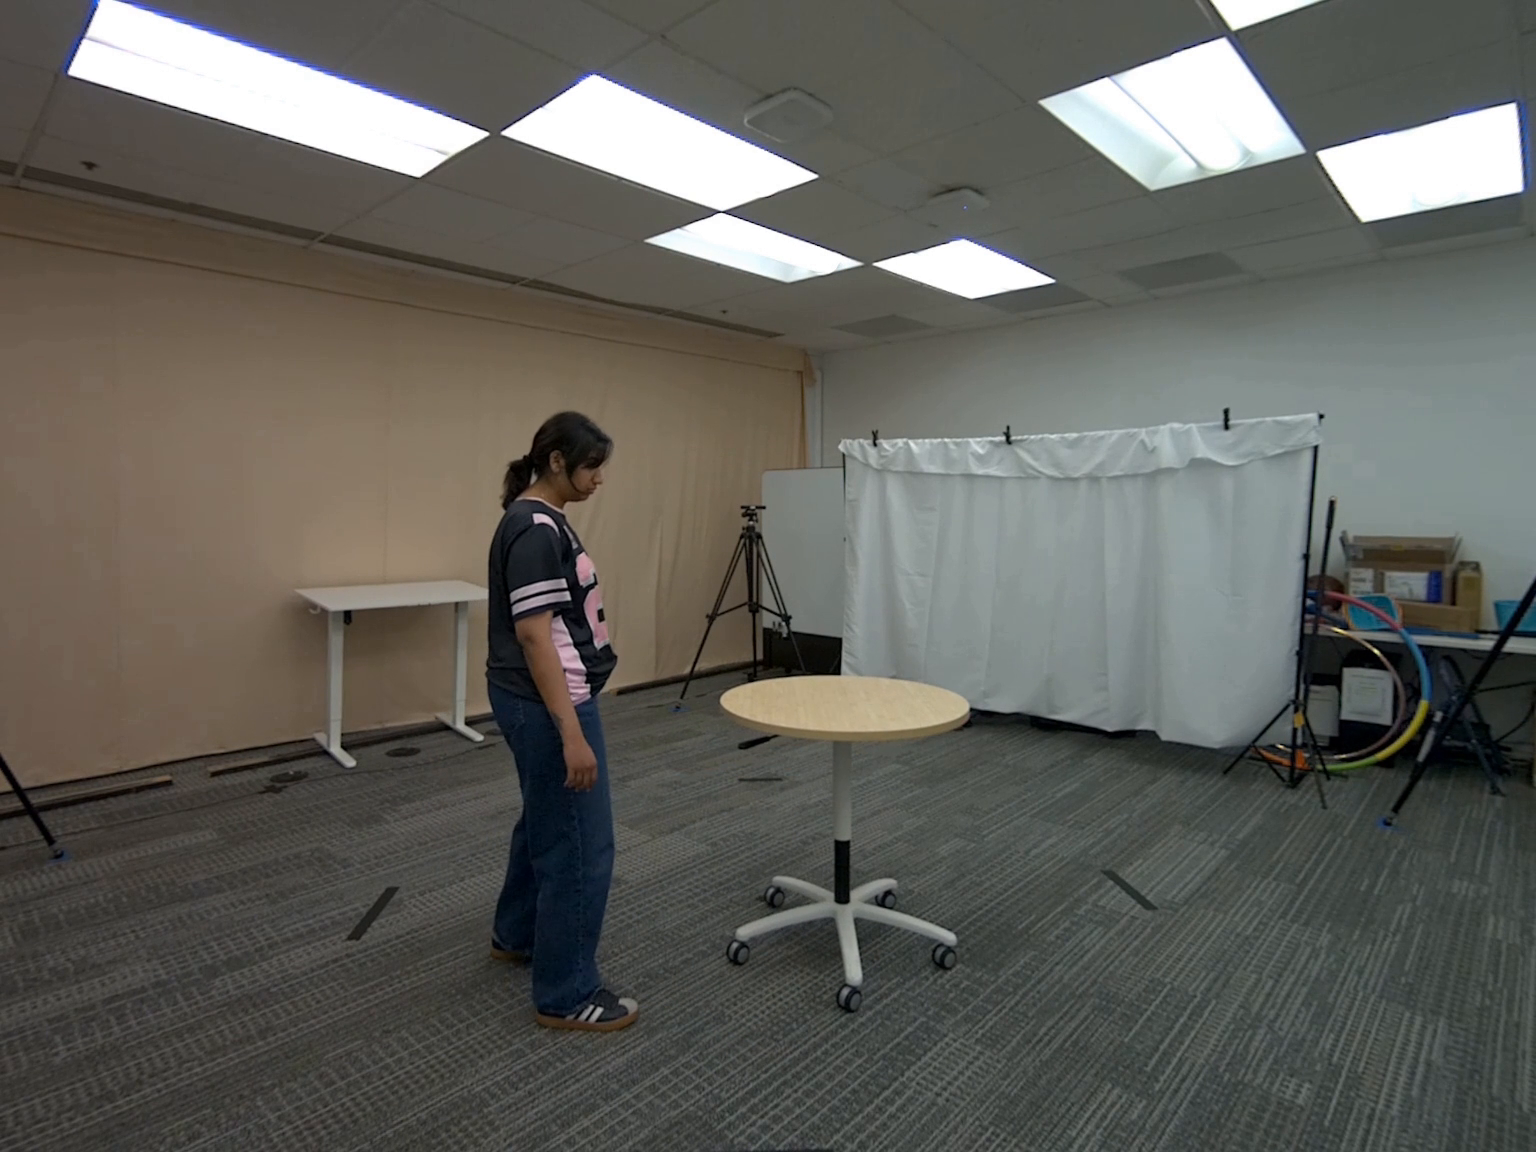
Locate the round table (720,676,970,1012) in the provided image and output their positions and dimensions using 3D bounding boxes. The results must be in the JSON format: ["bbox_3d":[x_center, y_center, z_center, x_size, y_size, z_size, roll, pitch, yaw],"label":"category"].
[{"bbox_3d":[0.233,0.784,2.644,0.763,0.792,0.766,0,3,-2],"label":"round table"}]
